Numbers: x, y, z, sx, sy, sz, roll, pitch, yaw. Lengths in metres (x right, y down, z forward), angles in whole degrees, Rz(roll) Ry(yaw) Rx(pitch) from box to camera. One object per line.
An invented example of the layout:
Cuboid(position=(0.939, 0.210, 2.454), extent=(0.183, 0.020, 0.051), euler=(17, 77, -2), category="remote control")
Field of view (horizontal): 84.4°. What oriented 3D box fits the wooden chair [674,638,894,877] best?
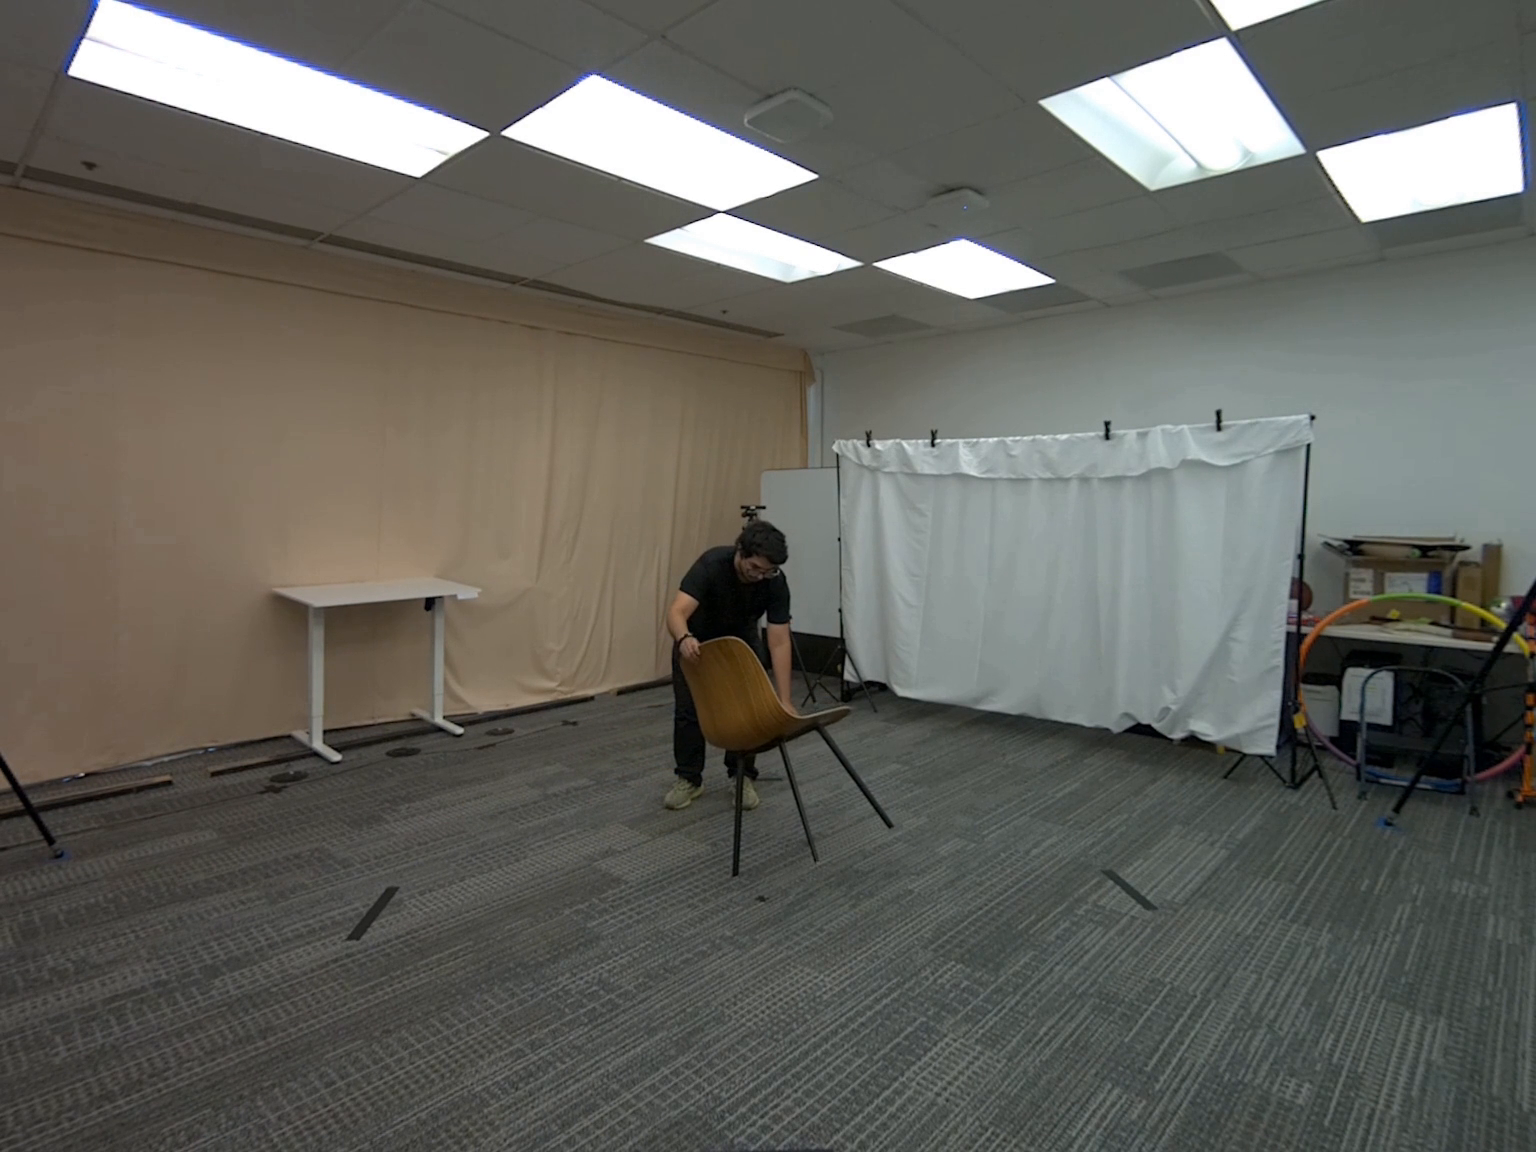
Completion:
Cuboid(position=(0.056, 0.640, 3.264), extent=(0.508, 0.887, 0.486), euler=(-10, -16, -46), category="wooden chair")
